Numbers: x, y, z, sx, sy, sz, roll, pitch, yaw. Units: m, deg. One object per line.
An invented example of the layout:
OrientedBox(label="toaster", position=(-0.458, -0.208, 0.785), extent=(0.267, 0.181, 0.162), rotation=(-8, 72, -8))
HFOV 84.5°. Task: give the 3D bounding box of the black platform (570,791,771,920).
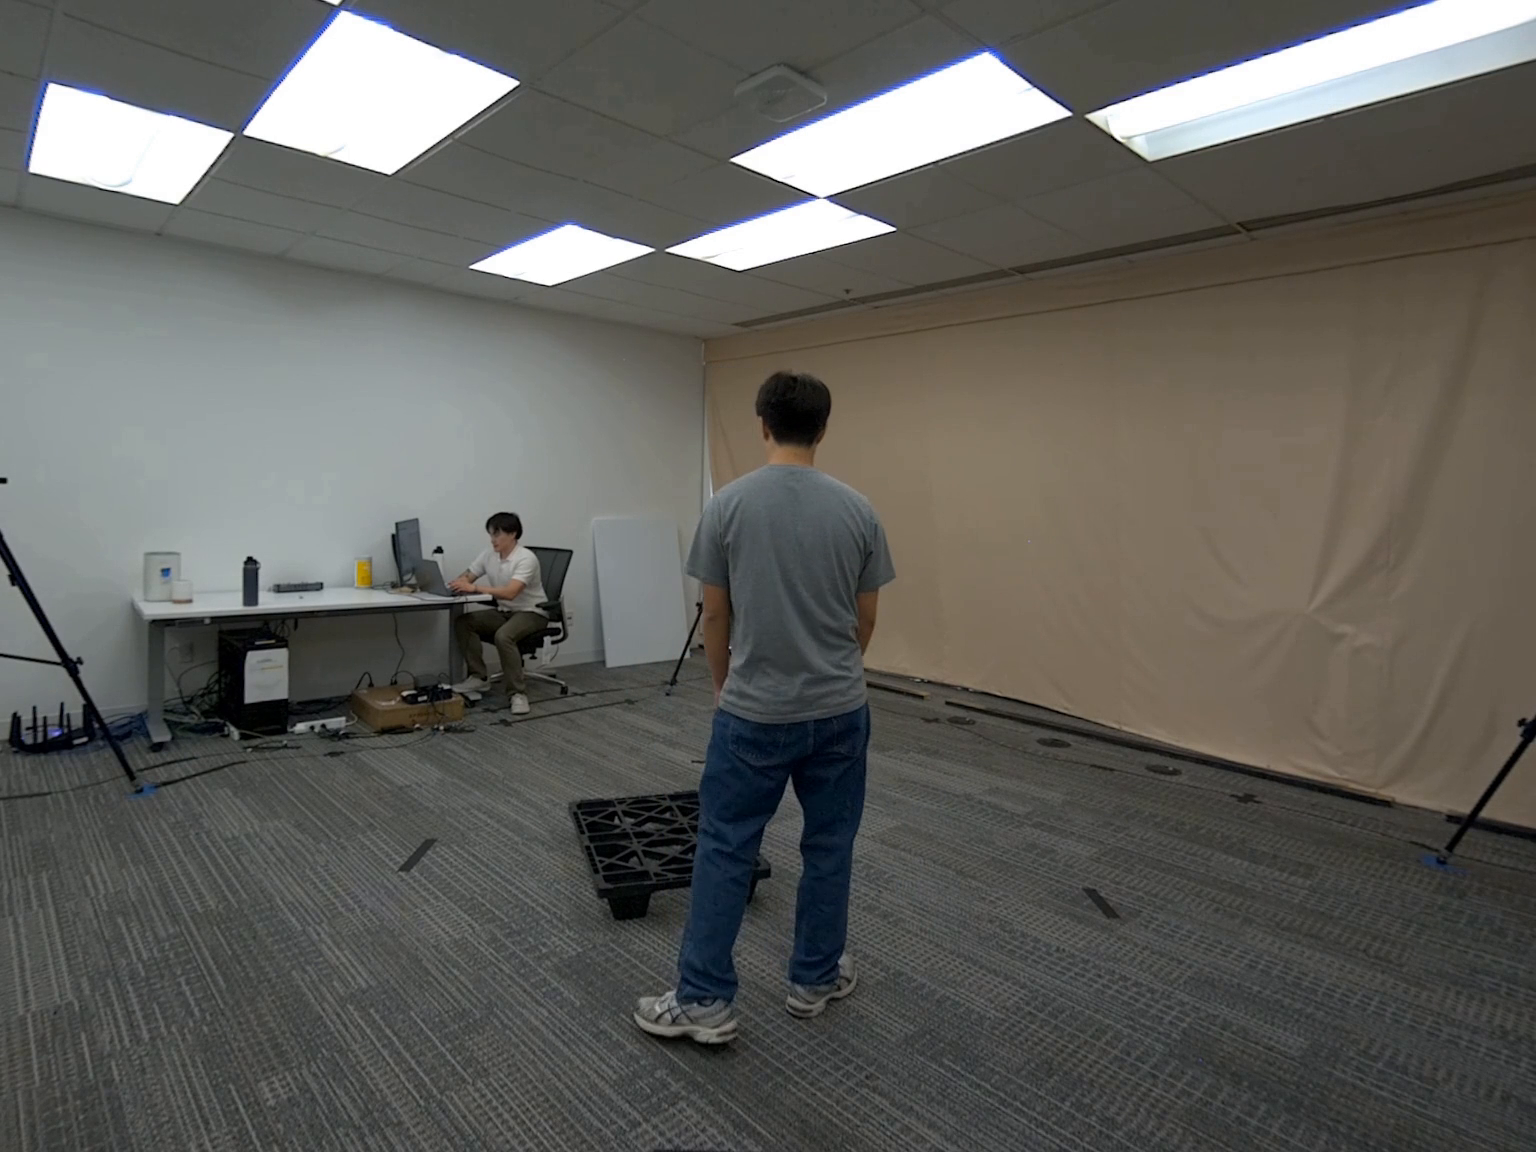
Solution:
OrientedBox(label="black platform", position=(-0.406, 1.026, 3.169), extent=(0.596, 0.143, 0.820), rotation=(0, 6, -19))
